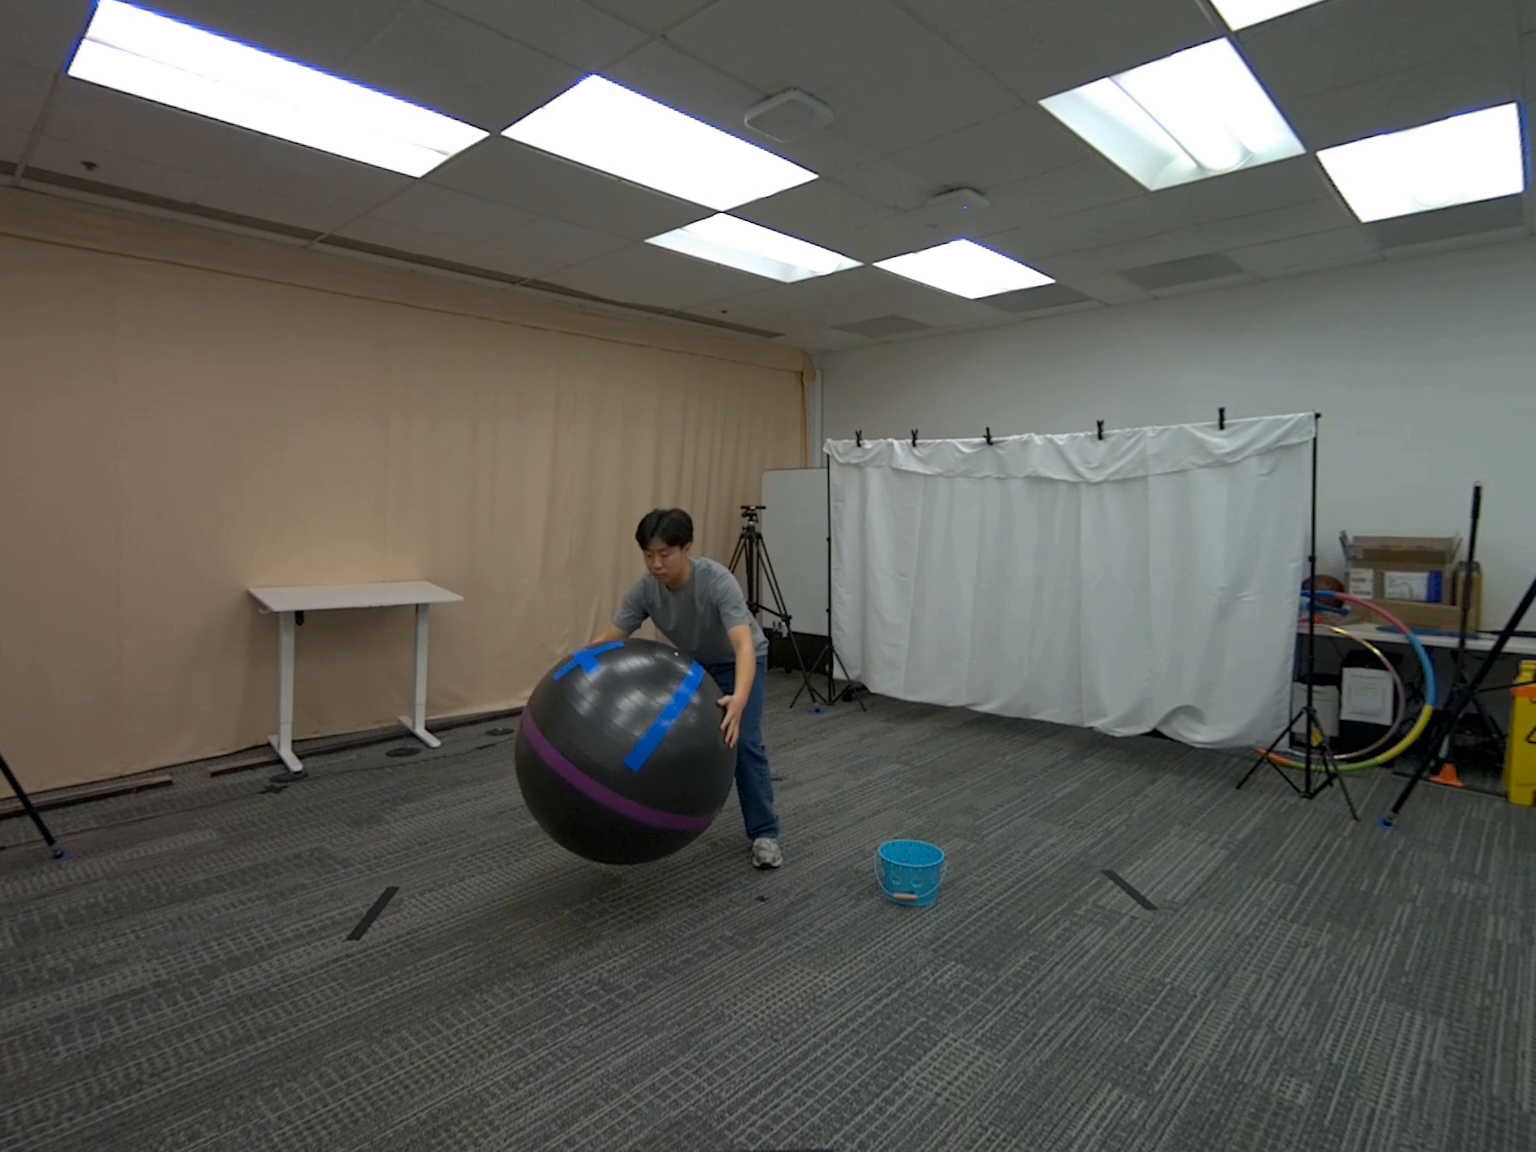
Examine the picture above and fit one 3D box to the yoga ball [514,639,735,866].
[{"bbox_3d":[-0.497,0.590,2.912,0.757,0.756,0.760,0,4,-2],"label":"yoga ball"}]
